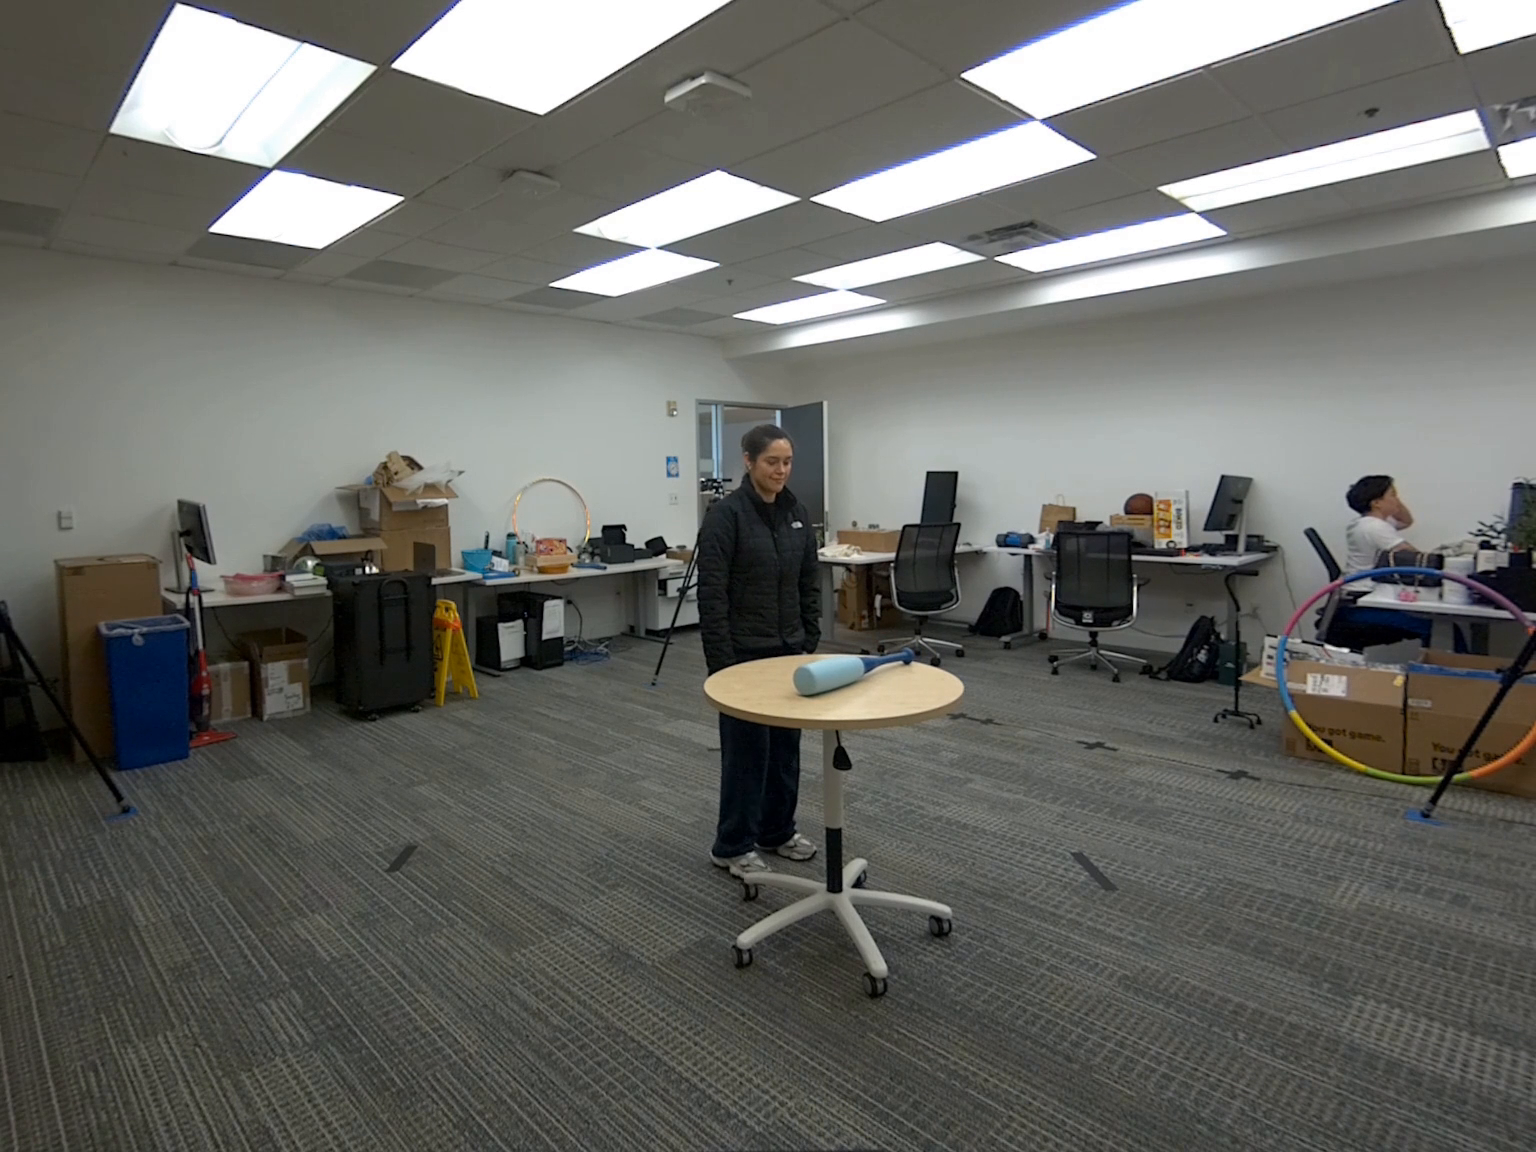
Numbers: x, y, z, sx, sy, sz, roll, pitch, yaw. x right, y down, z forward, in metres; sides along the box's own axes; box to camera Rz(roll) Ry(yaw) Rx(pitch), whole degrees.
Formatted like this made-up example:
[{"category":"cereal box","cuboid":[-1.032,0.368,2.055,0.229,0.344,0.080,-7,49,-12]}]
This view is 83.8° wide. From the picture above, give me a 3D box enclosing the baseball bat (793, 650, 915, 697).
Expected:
[{"category":"baseball bat","cuboid":[0.274,0.277,2.605,0.092,0.089,0.528,3,6,43]}]
